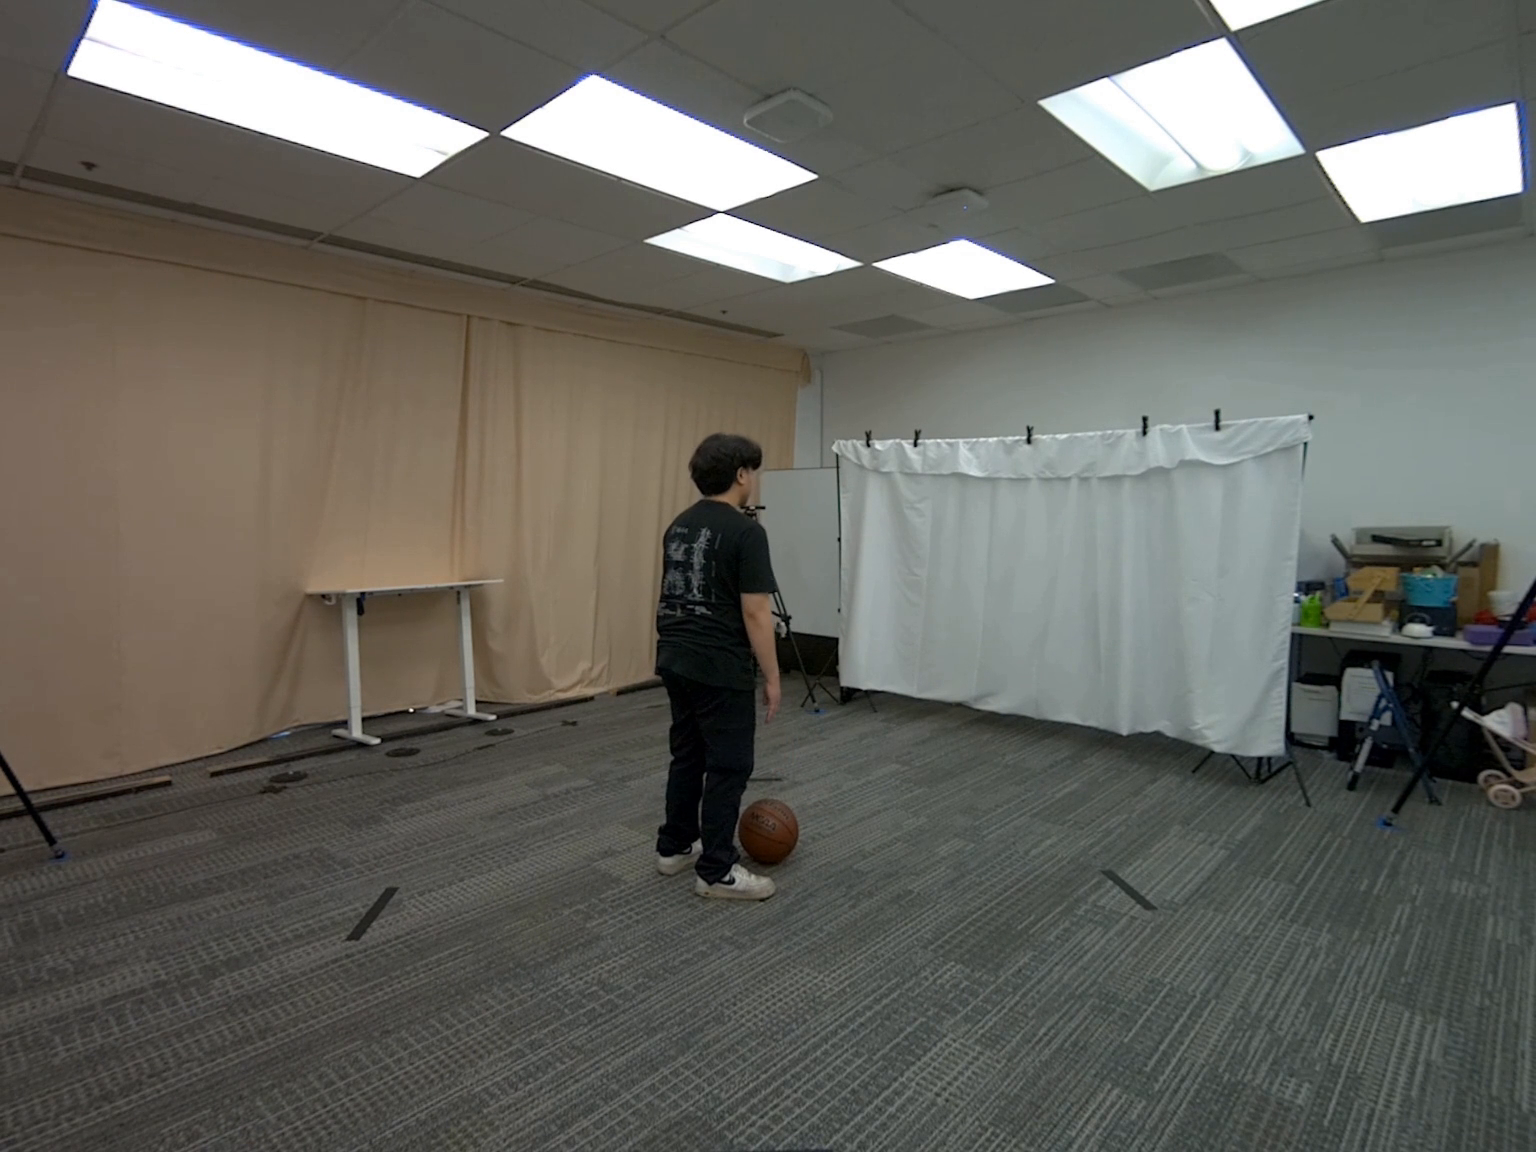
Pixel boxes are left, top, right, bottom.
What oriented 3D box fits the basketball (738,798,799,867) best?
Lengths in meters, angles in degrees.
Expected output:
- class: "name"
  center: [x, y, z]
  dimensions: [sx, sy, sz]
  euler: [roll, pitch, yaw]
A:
- class: "basketball"
  center: [0.007, 0.997, 3.300]
  dimensions: [0.236, 0.235, 0.237]
  euler: [0, 4, -2]
